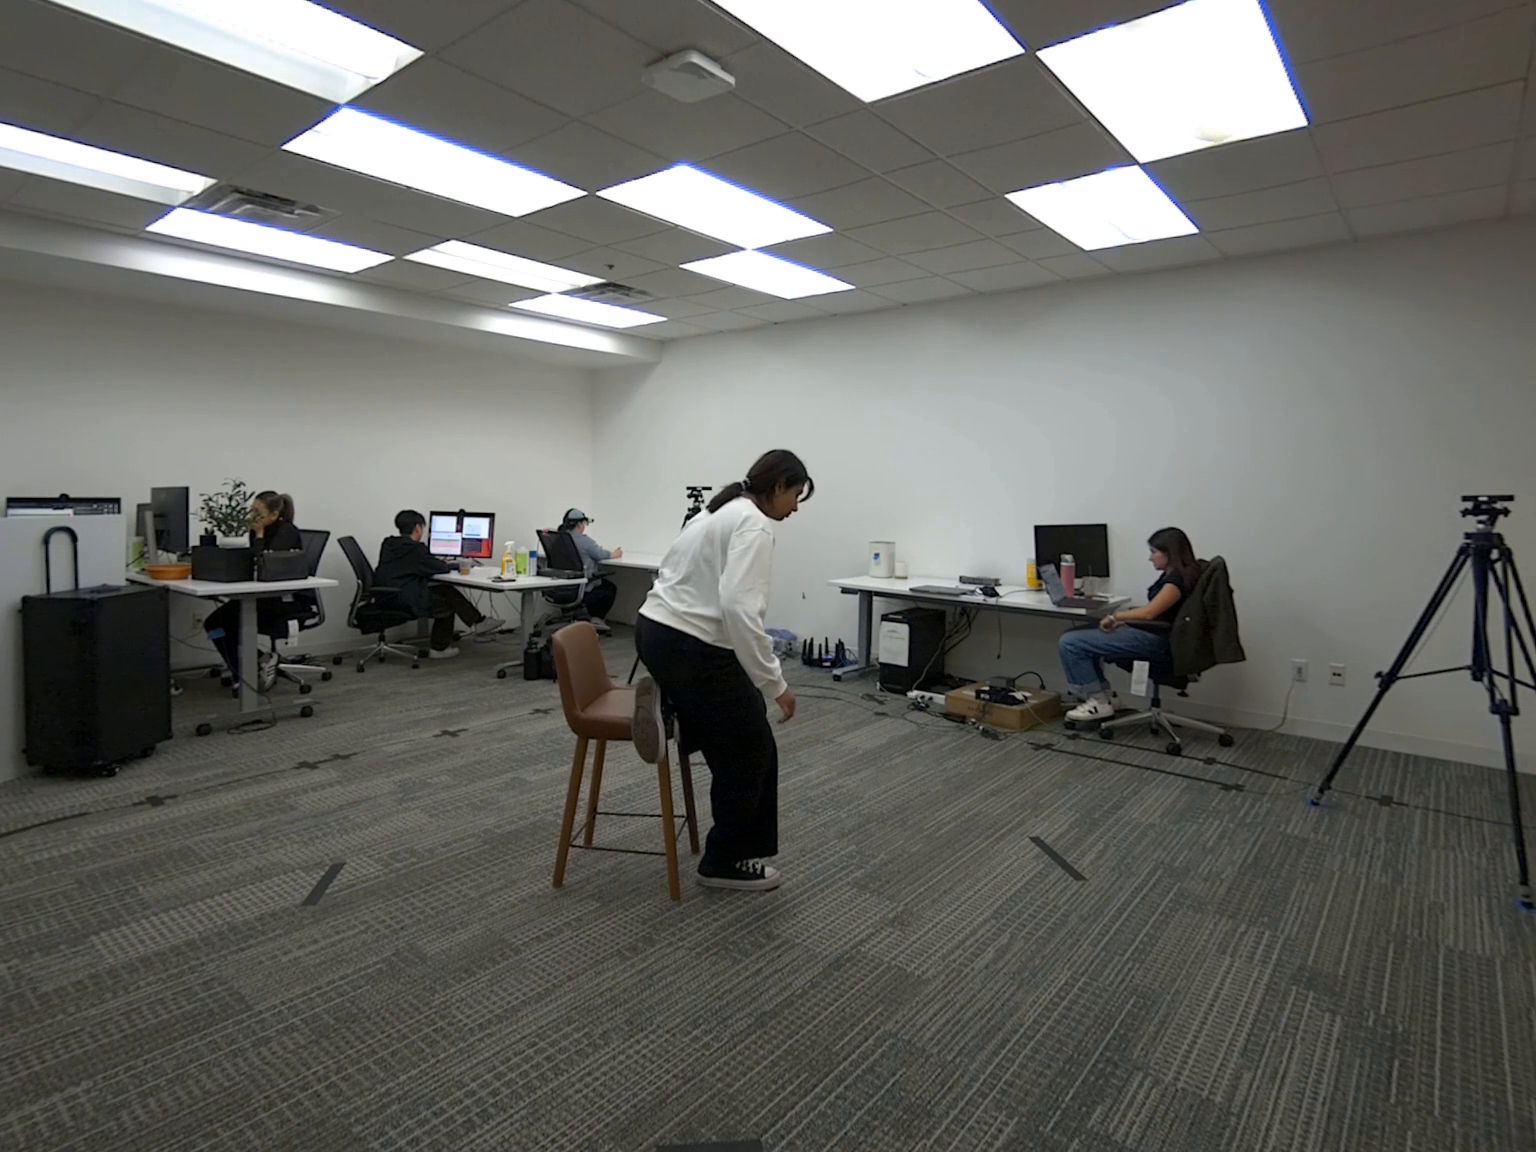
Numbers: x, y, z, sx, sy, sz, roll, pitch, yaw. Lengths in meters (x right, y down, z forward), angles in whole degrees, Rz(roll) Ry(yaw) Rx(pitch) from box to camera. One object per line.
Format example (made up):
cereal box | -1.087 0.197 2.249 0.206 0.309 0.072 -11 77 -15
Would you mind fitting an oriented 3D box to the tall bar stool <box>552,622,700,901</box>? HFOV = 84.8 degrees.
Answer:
tall bar stool | -0.509 0.632 3.073 0.472 0.887 0.453 0 3 8
